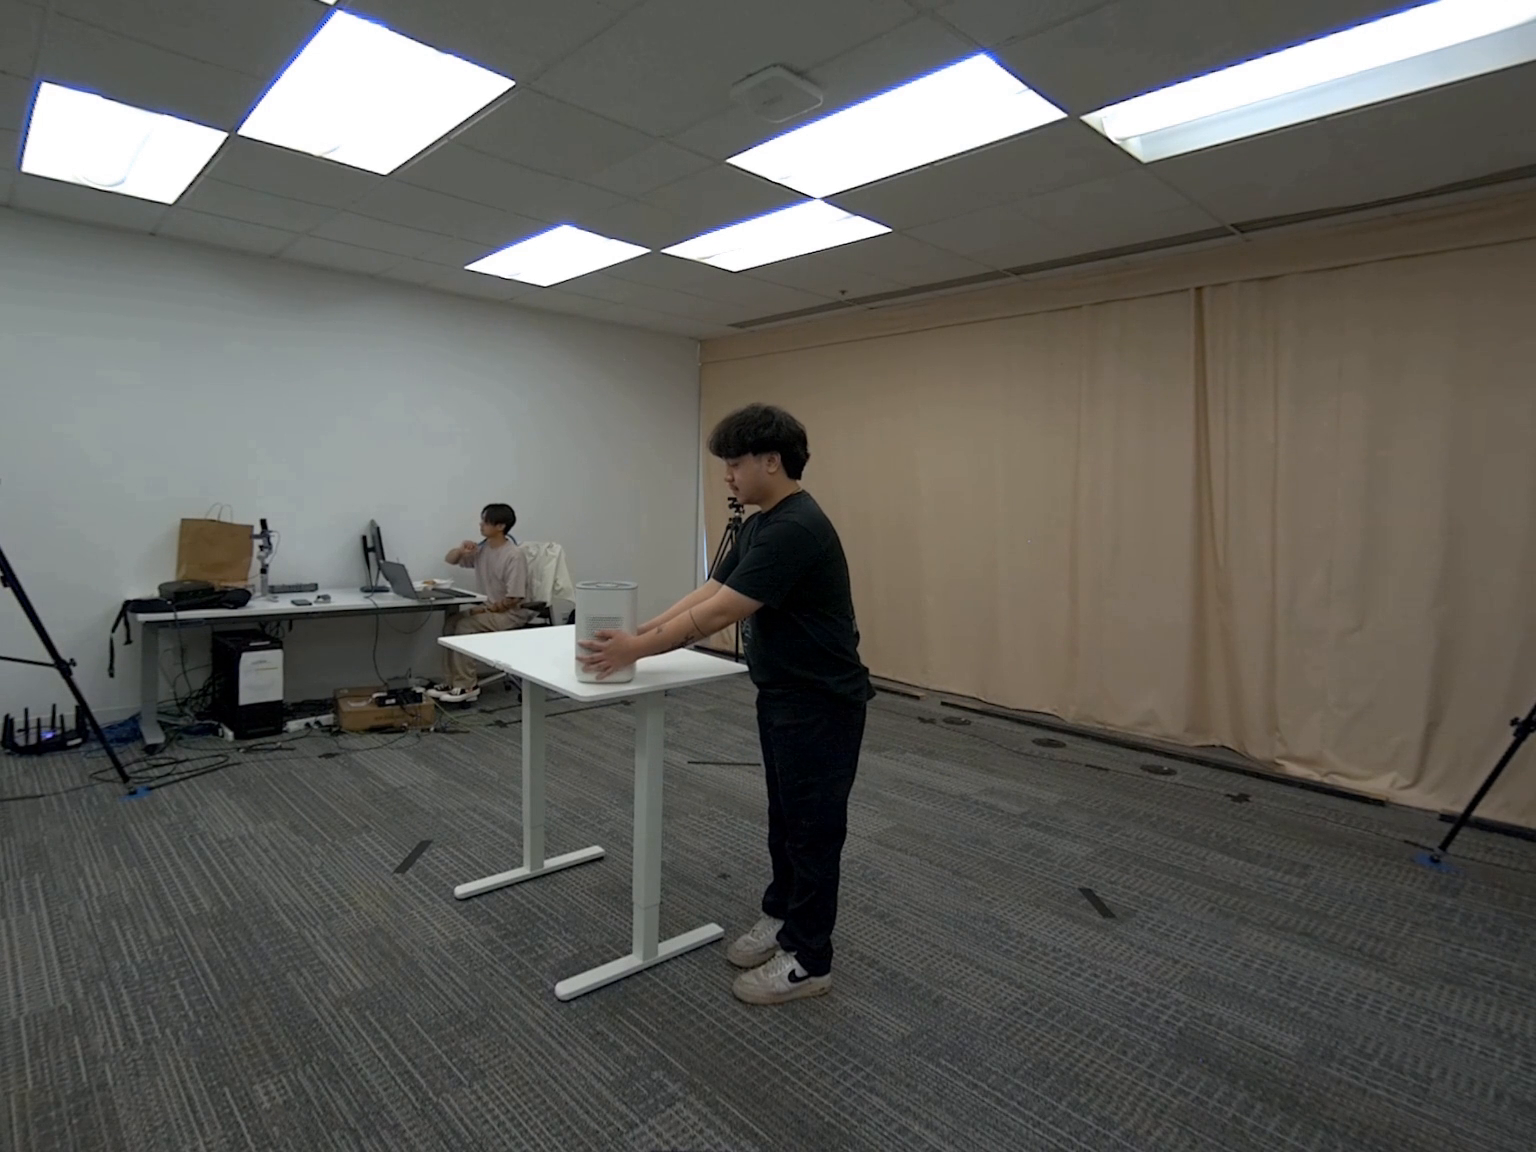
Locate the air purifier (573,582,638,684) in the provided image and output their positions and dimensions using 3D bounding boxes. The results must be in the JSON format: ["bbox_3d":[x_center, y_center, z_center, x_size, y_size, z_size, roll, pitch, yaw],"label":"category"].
[{"bbox_3d":[-0.452,0.158,2.373,0.171,0.265,0.172,1,3,-6],"label":"air purifier"}]
